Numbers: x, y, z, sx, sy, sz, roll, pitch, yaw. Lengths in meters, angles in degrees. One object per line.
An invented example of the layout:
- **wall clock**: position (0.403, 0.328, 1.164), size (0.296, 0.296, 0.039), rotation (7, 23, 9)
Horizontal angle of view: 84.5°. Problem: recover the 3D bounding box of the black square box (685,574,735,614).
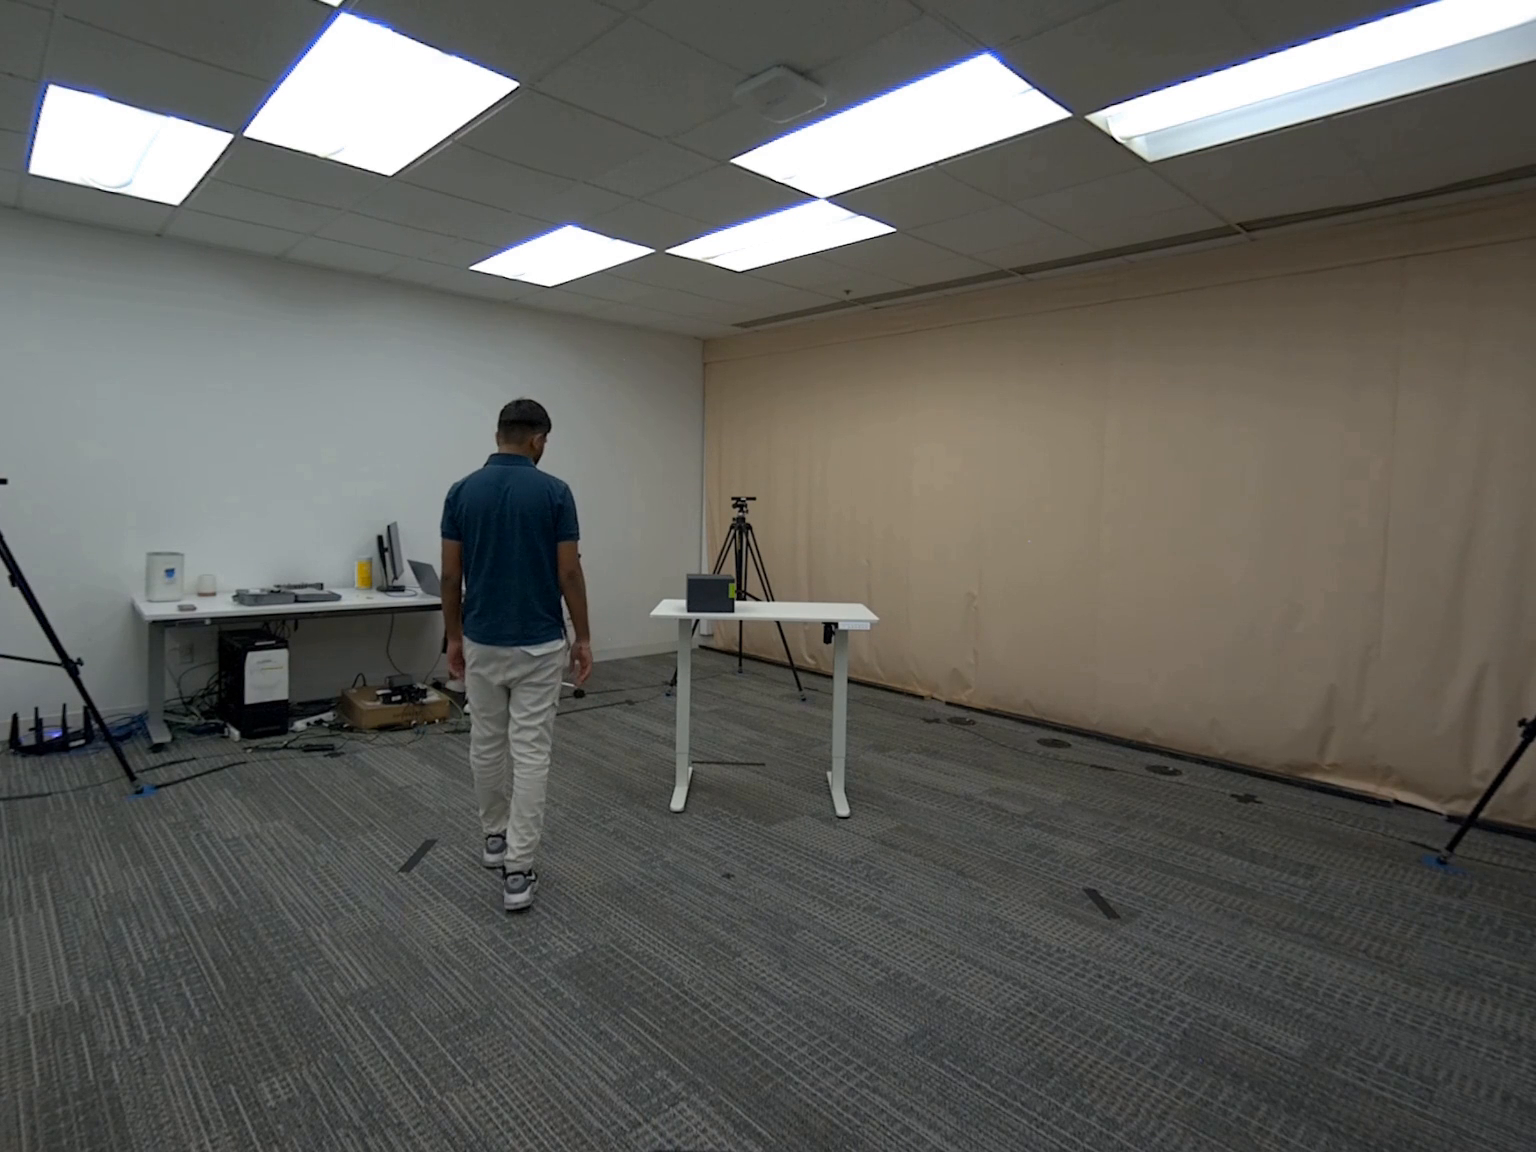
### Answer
- **black square box**: position (-0.257, 0.078, 3.879), size (0.217, 0.156, 0.228), rotation (1, 2, -1)
